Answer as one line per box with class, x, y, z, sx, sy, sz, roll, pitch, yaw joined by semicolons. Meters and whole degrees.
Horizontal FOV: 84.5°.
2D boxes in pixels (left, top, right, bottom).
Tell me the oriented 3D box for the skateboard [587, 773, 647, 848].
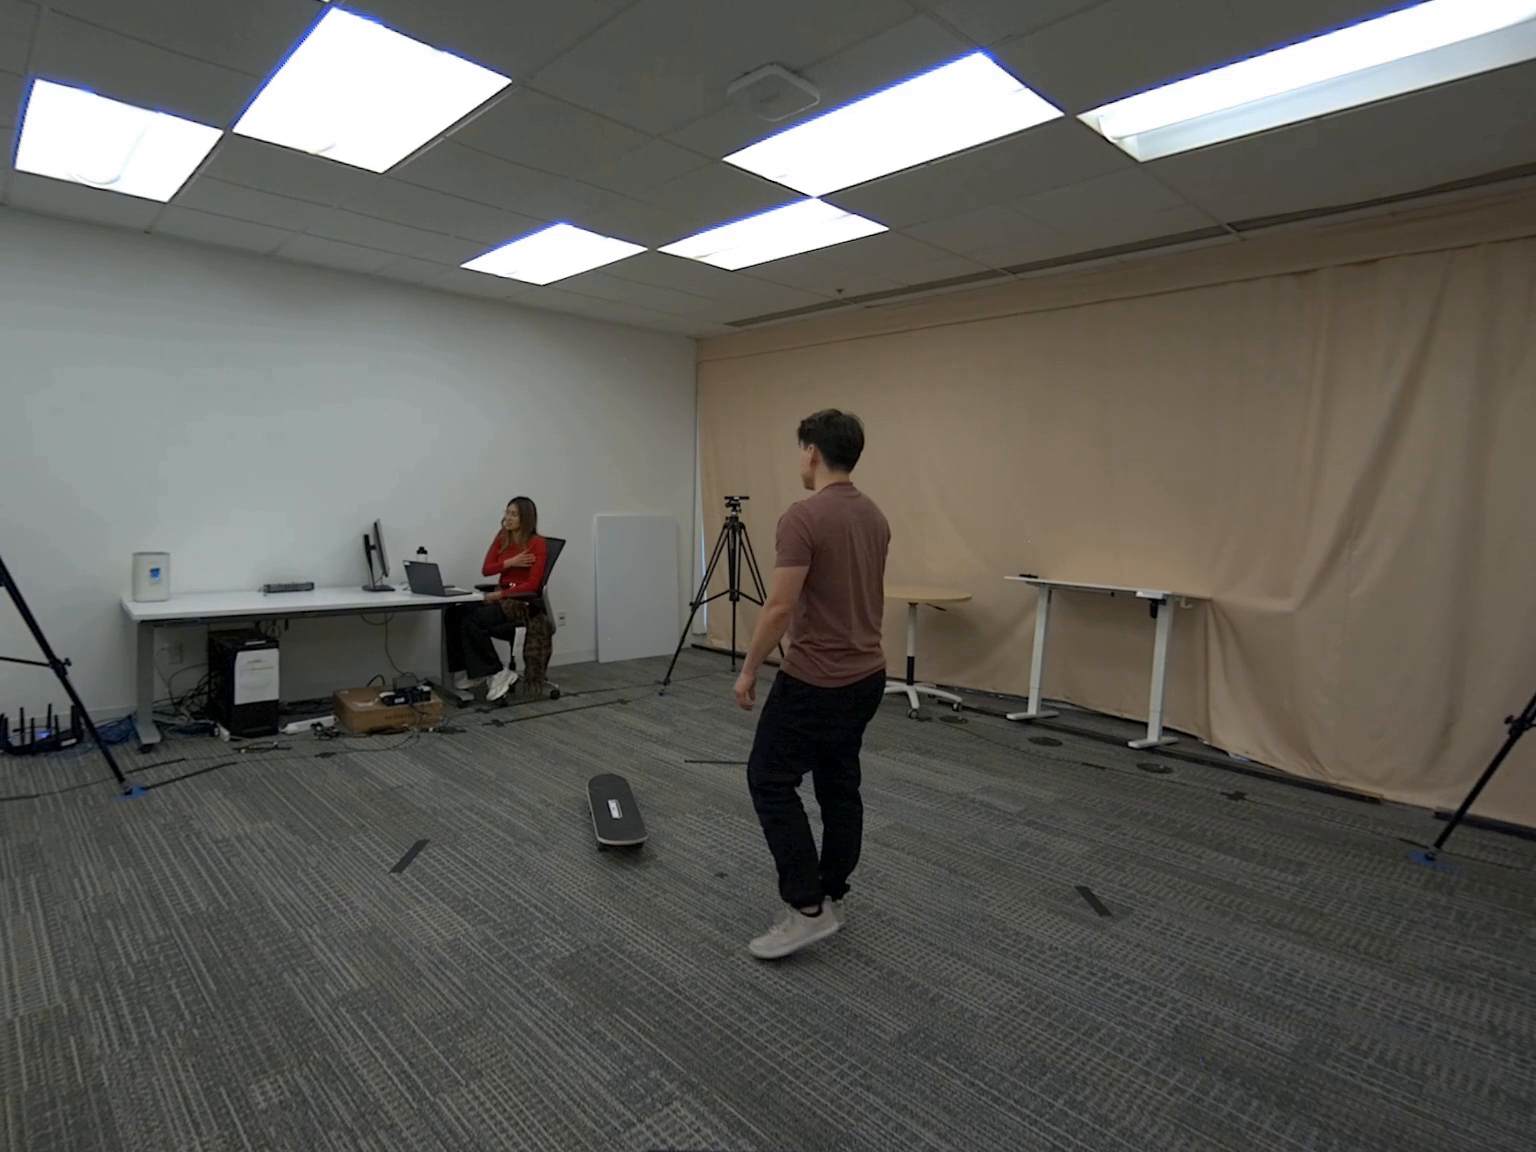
skateboard;-0.649;1.004;3.508;0.191;0.110;0.796;0;5;-15
